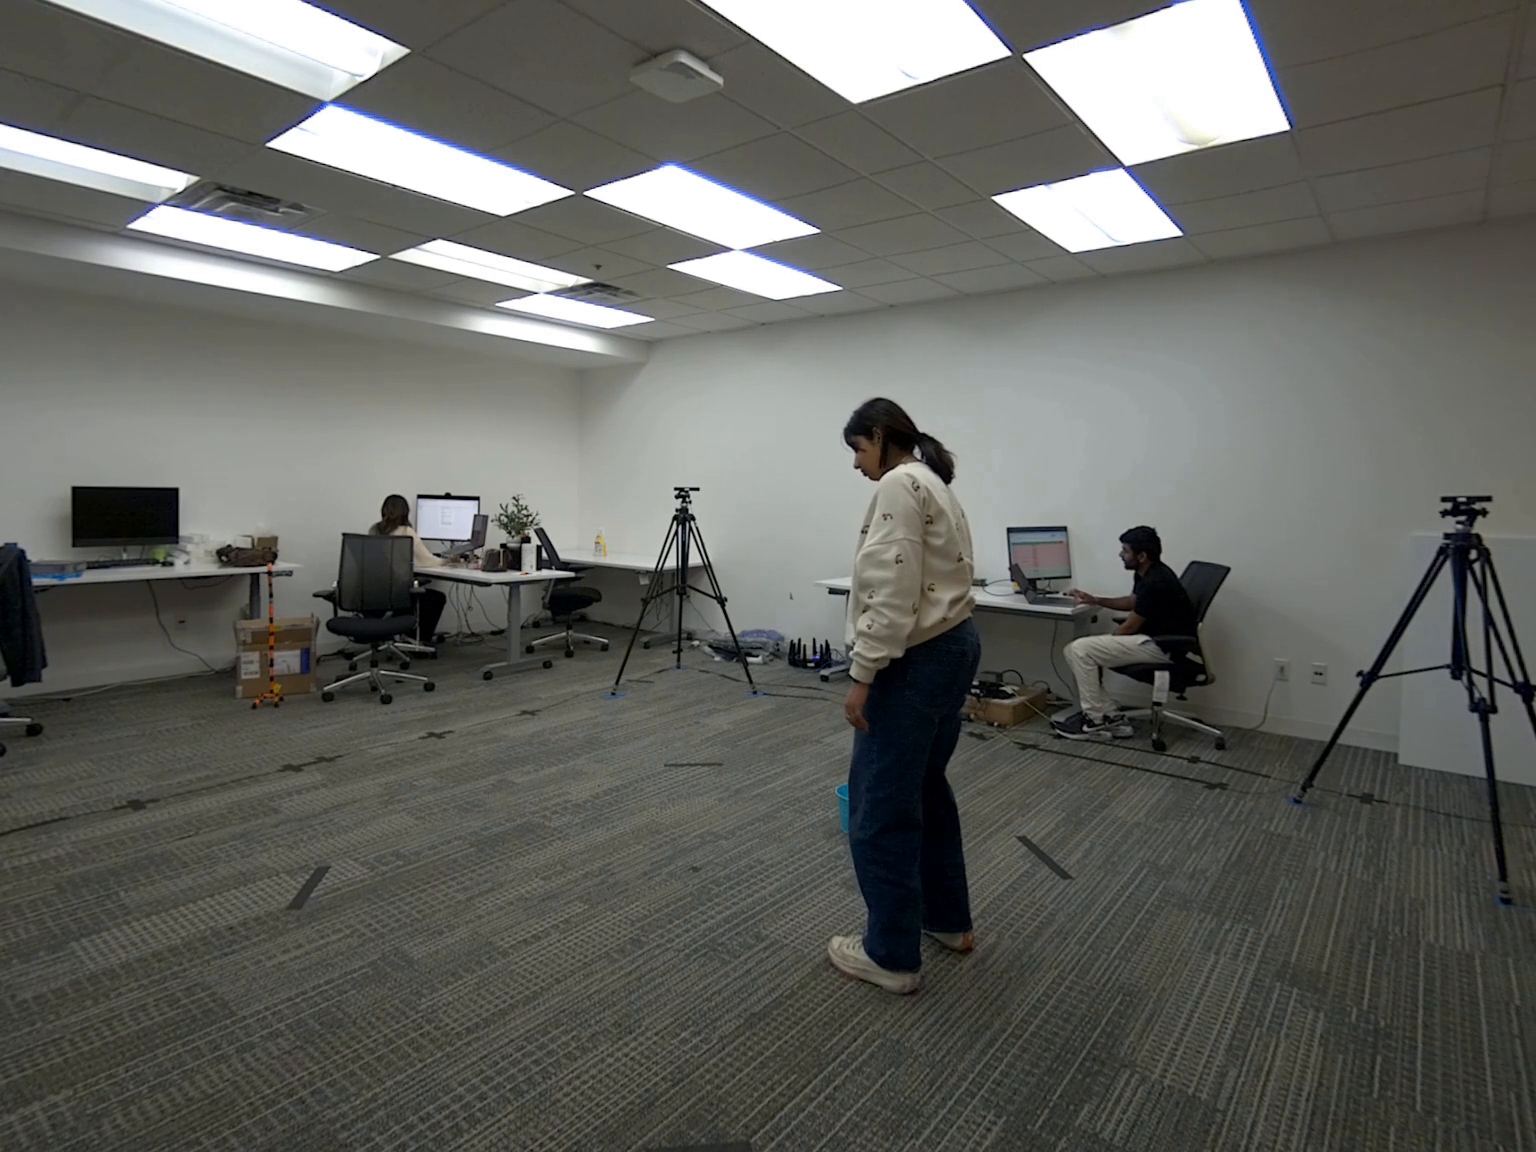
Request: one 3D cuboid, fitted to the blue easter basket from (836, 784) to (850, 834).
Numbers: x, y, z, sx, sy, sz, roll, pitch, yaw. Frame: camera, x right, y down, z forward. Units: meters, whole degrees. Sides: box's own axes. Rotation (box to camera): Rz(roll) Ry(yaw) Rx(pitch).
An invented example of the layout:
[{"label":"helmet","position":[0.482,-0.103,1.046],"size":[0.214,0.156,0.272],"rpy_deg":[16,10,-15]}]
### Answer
[{"label":"blue easter basket","position":[0.389,0.954,3.507],"size":[0.243,0.155,0.245],"rpy_deg":[1,5,-2]}]
